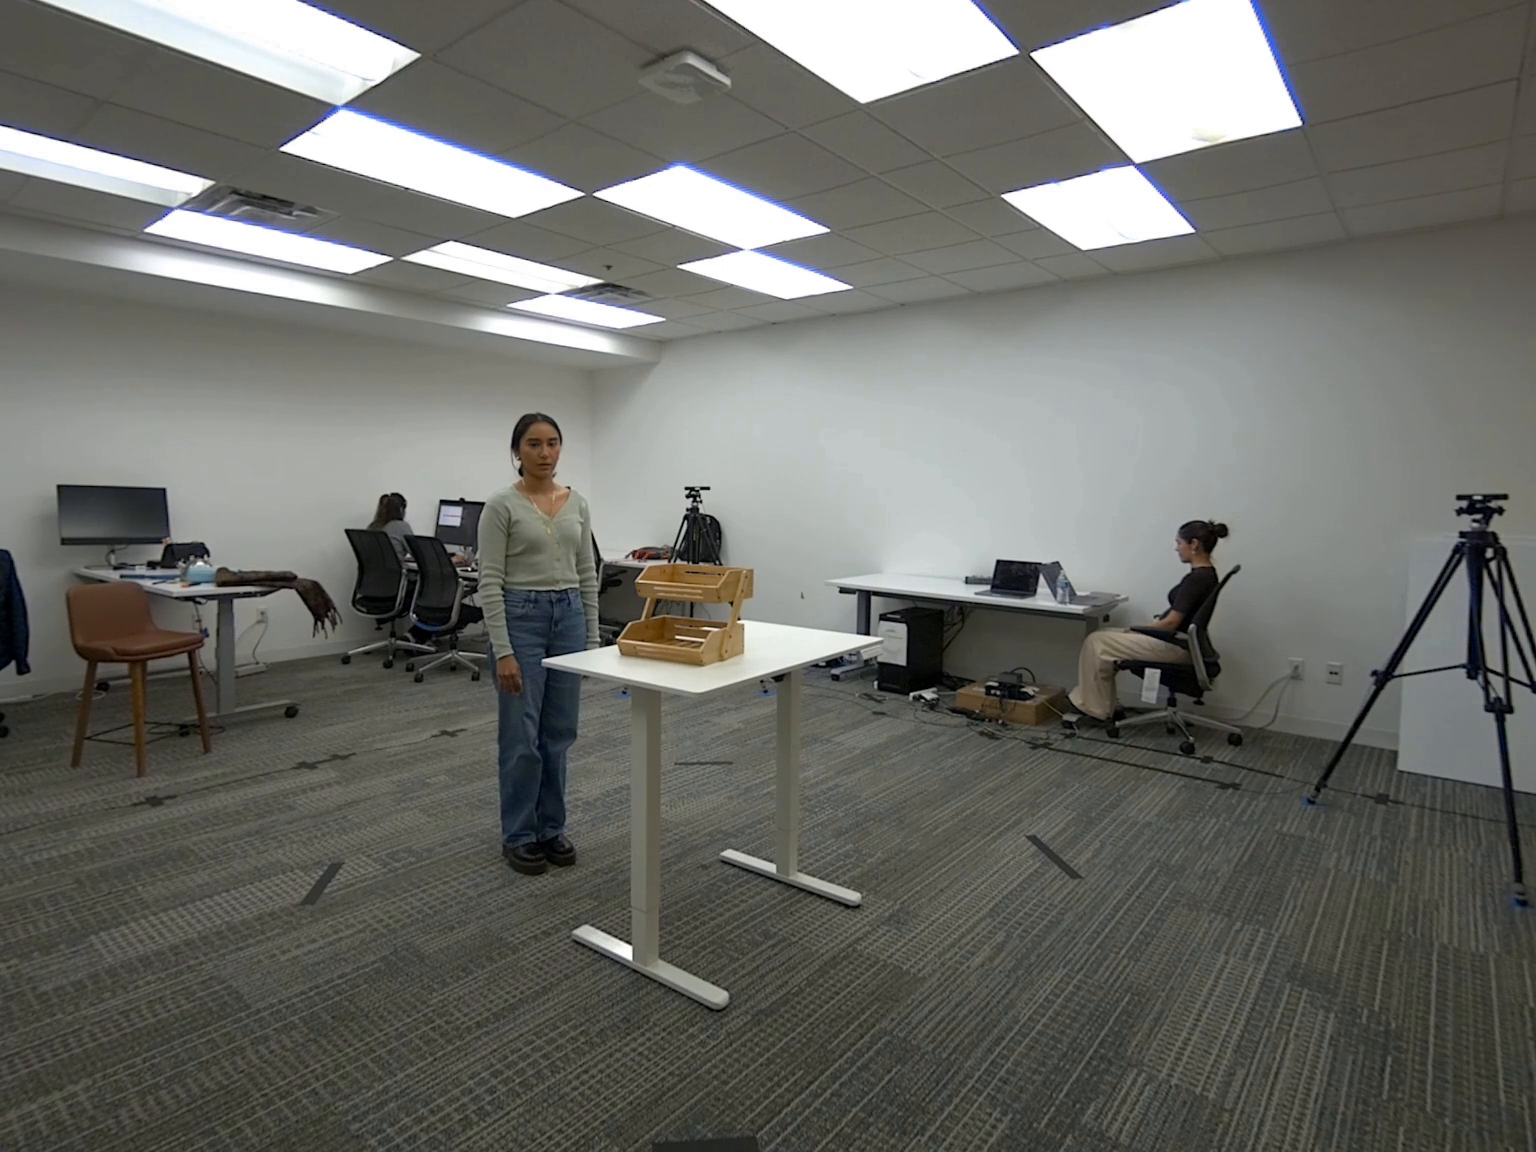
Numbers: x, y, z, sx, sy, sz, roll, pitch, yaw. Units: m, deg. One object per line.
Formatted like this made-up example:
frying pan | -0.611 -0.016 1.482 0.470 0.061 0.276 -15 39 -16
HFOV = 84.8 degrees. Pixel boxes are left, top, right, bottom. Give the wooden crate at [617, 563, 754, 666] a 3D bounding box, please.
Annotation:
wooden crate | -0.259 0.104 2.592 0.334 0.272 0.294 4 5 29
